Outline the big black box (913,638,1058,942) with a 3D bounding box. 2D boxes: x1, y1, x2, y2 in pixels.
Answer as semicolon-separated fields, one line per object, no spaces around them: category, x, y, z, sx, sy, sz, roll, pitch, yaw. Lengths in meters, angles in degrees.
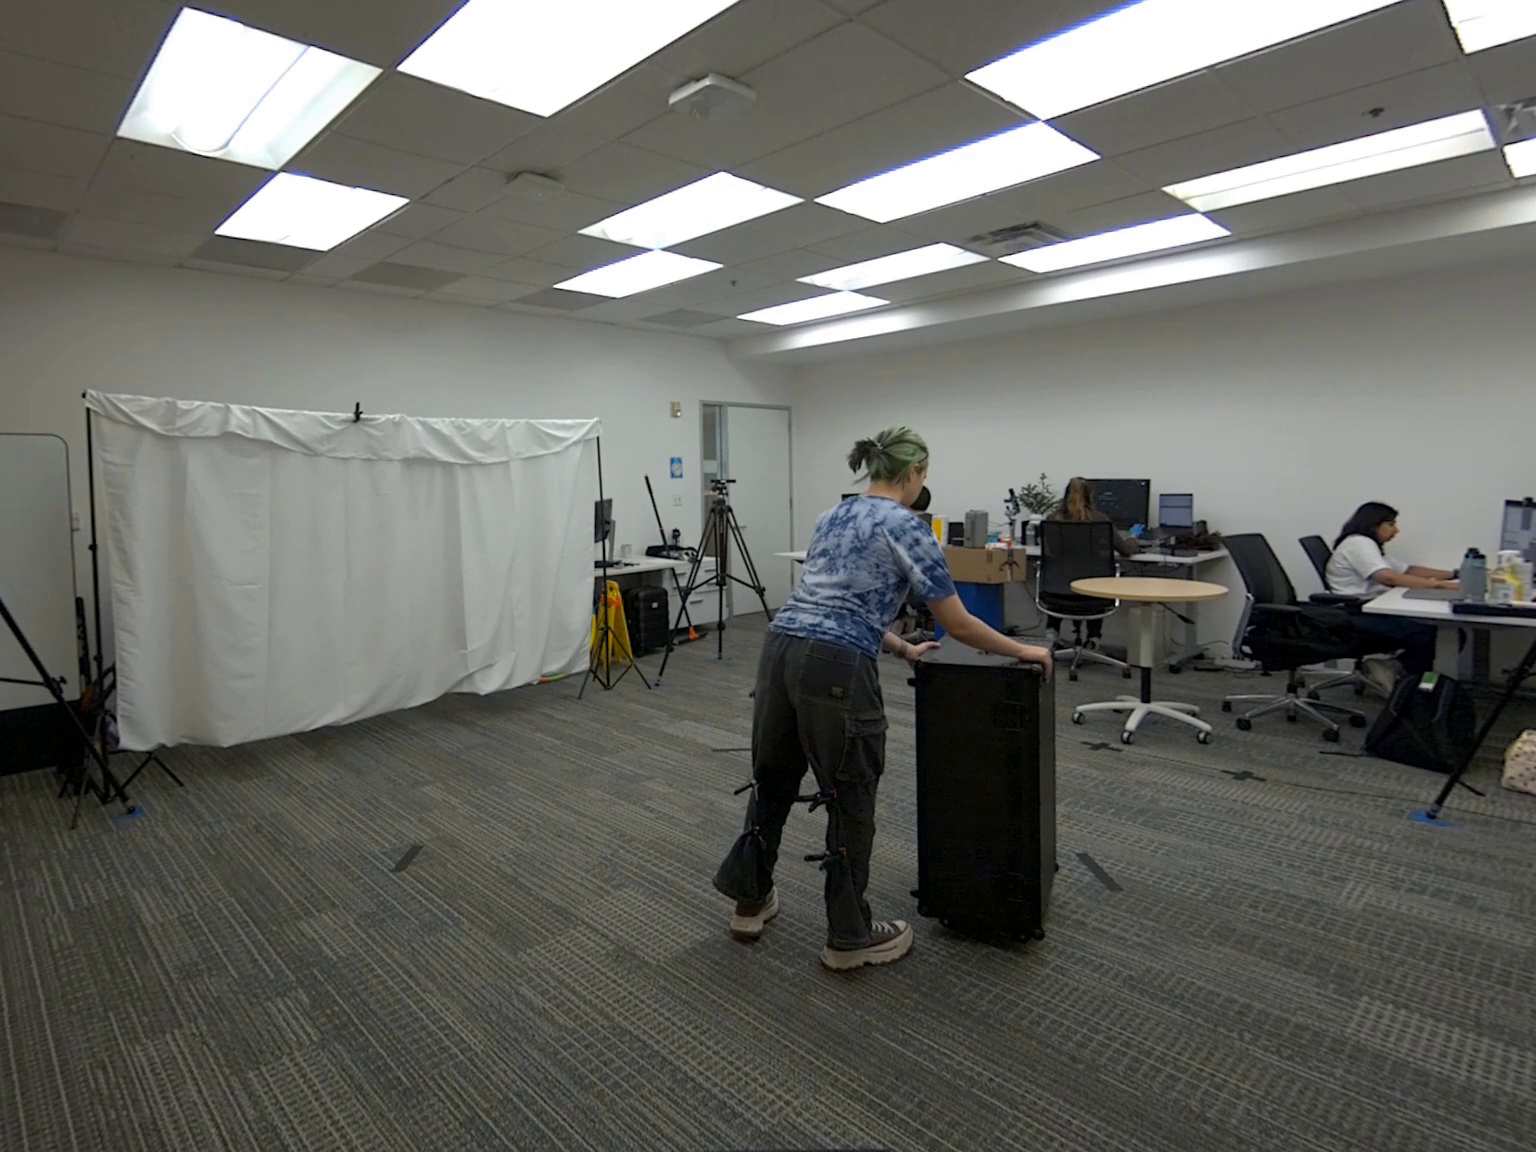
big black box;0.696;0.656;2.704;0.405;0.858;0.511;1;5;25
